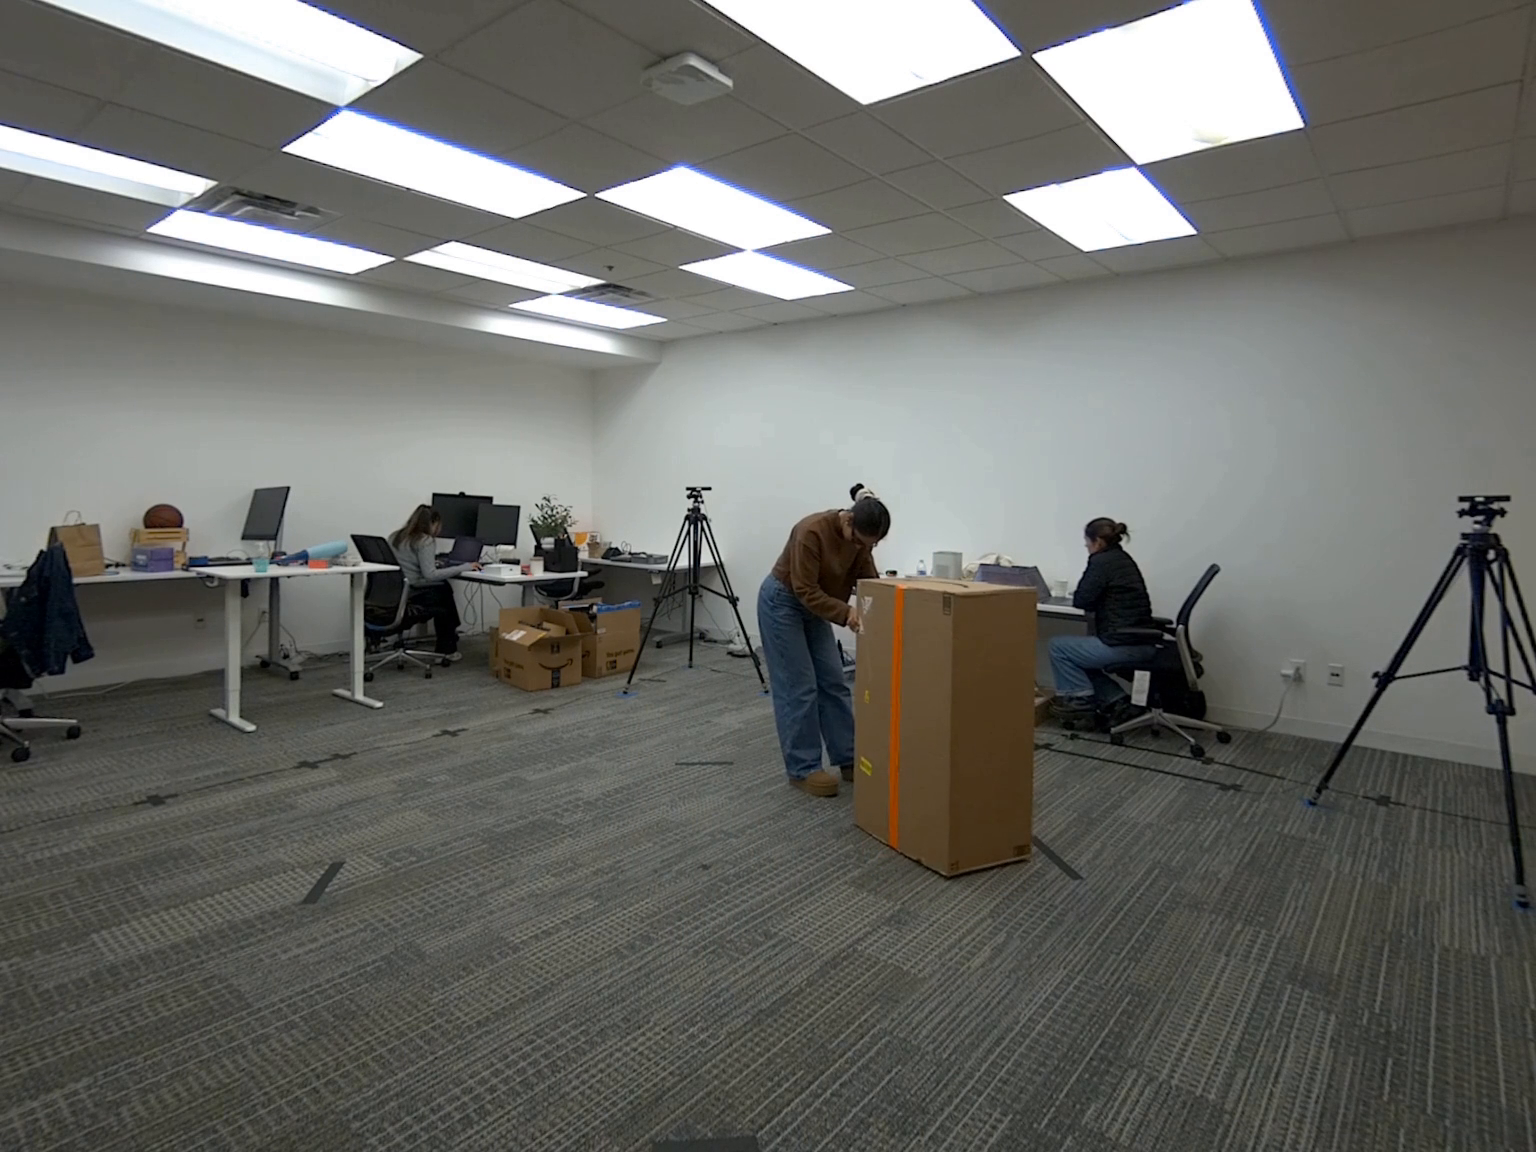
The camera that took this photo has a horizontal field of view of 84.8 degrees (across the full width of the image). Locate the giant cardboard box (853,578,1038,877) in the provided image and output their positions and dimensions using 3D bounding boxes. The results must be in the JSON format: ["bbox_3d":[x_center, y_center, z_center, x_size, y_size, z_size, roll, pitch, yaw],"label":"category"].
[{"bbox_3d":[0.674,0.543,3.378,0.415,1.024,0.594,-1,3,-28],"label":"giant cardboard box"}]
